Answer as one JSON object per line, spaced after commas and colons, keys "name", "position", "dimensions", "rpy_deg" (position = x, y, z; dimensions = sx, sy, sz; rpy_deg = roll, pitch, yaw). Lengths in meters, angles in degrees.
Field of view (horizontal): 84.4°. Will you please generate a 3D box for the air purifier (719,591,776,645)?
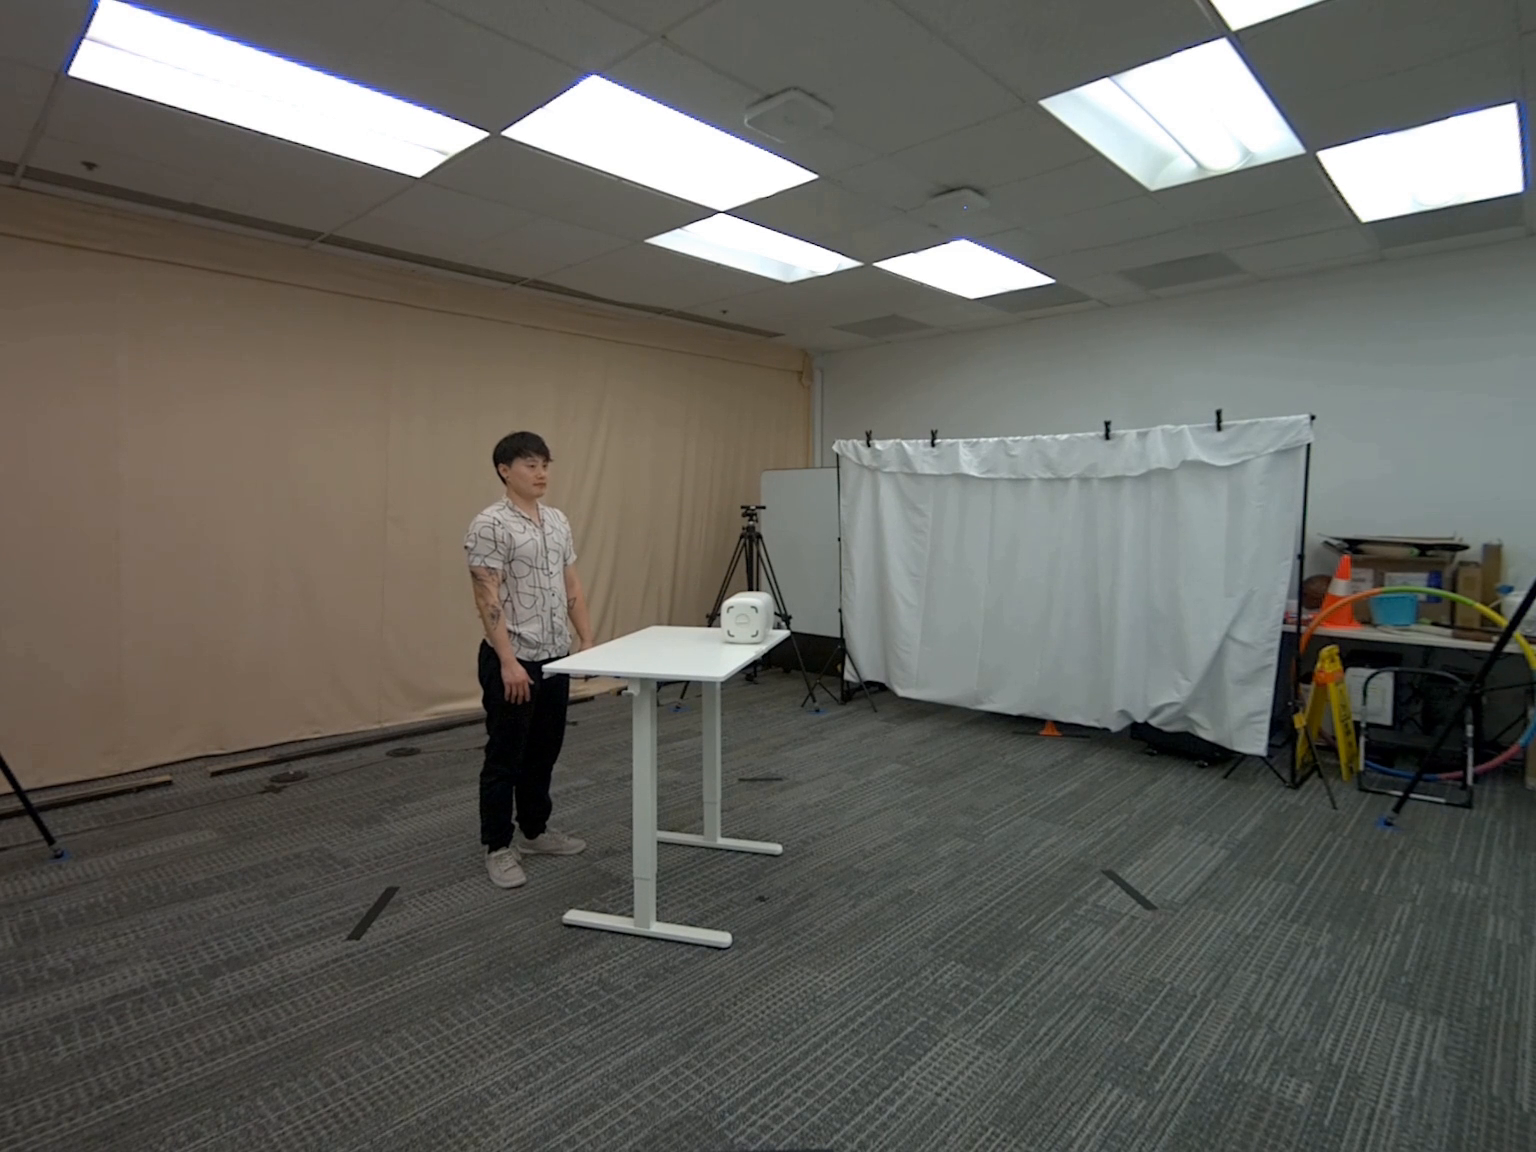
{"name": "air purifier", "position": [-0.074, 0.157, 3.212], "dimensions": [0.174, 0.170, 0.263], "rpy_deg": [3, 5, 9]}
